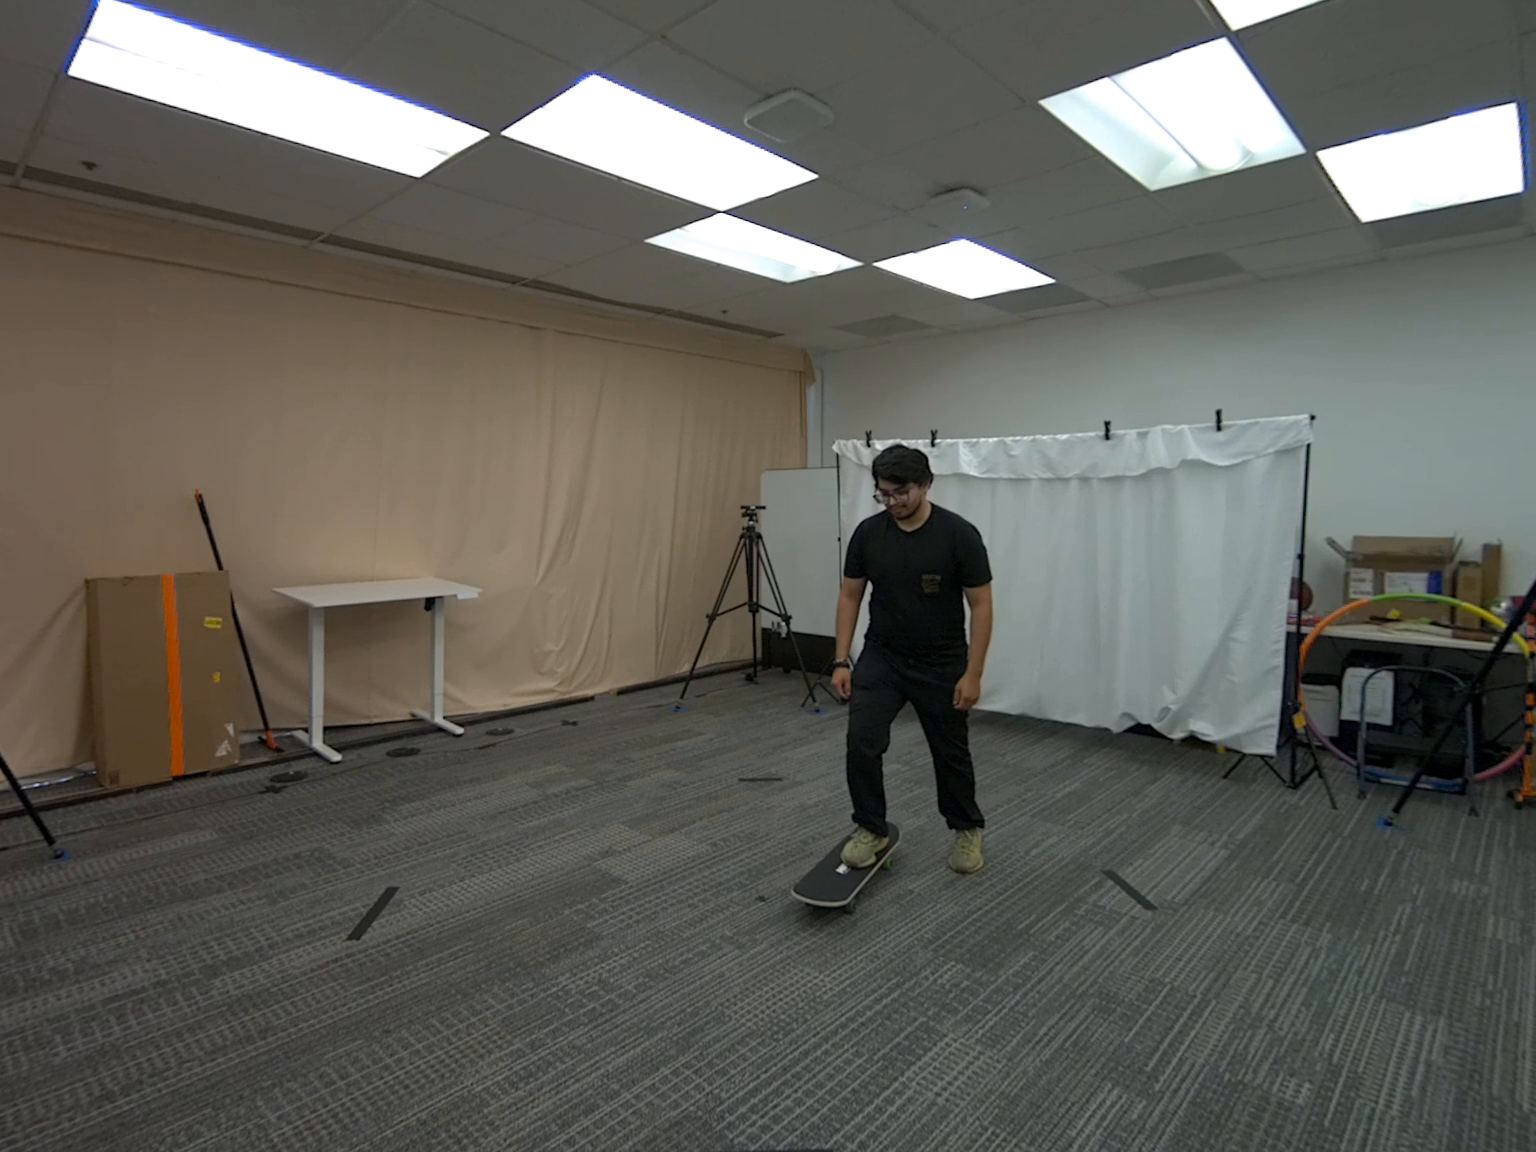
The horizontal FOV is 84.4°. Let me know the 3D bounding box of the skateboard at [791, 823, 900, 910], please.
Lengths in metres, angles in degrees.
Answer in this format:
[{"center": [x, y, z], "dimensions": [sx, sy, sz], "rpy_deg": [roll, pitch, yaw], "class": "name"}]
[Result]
[{"center": [0.308, 1.082, 3.084], "dimensions": [0.199, 0.110, 0.766], "rpy_deg": [4, 6, 26], "class": "skateboard"}]
